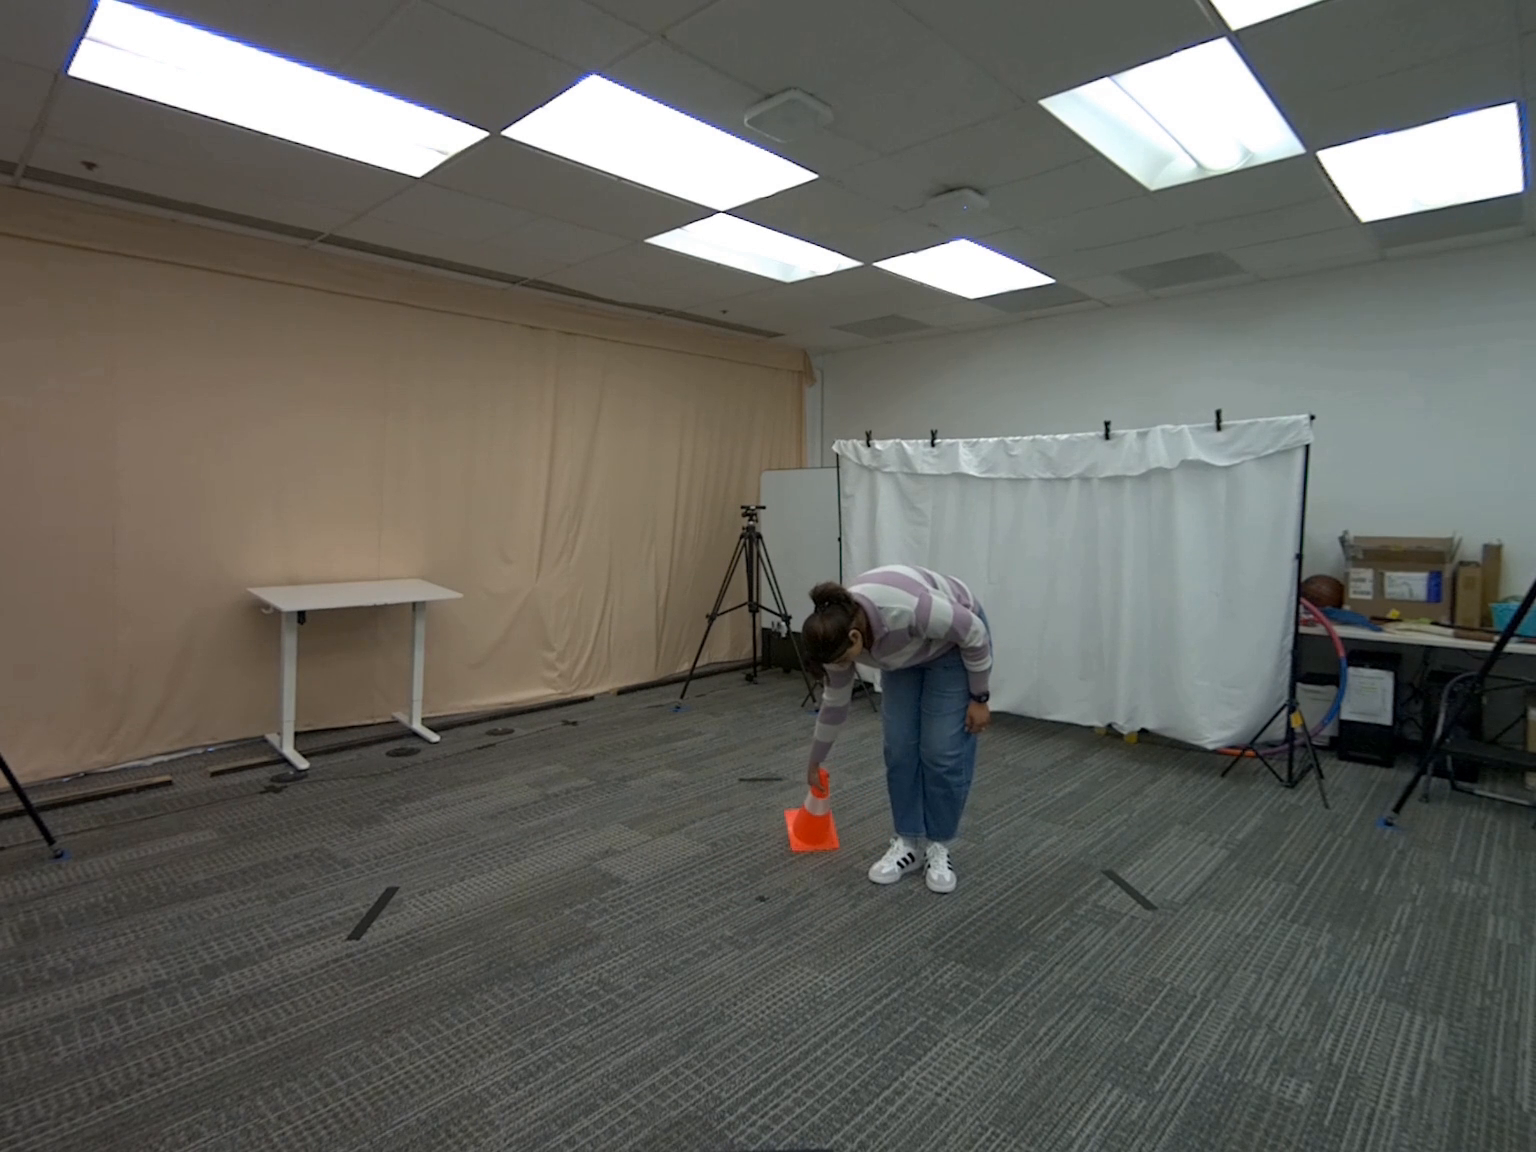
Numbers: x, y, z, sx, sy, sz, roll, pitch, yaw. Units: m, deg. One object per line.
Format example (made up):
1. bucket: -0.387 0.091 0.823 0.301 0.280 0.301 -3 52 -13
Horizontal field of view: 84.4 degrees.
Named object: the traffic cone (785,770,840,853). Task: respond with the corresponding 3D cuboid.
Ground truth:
1. traffic cone: 0.200 0.900 3.373 0.202 0.377 0.210 -1 37 -8
